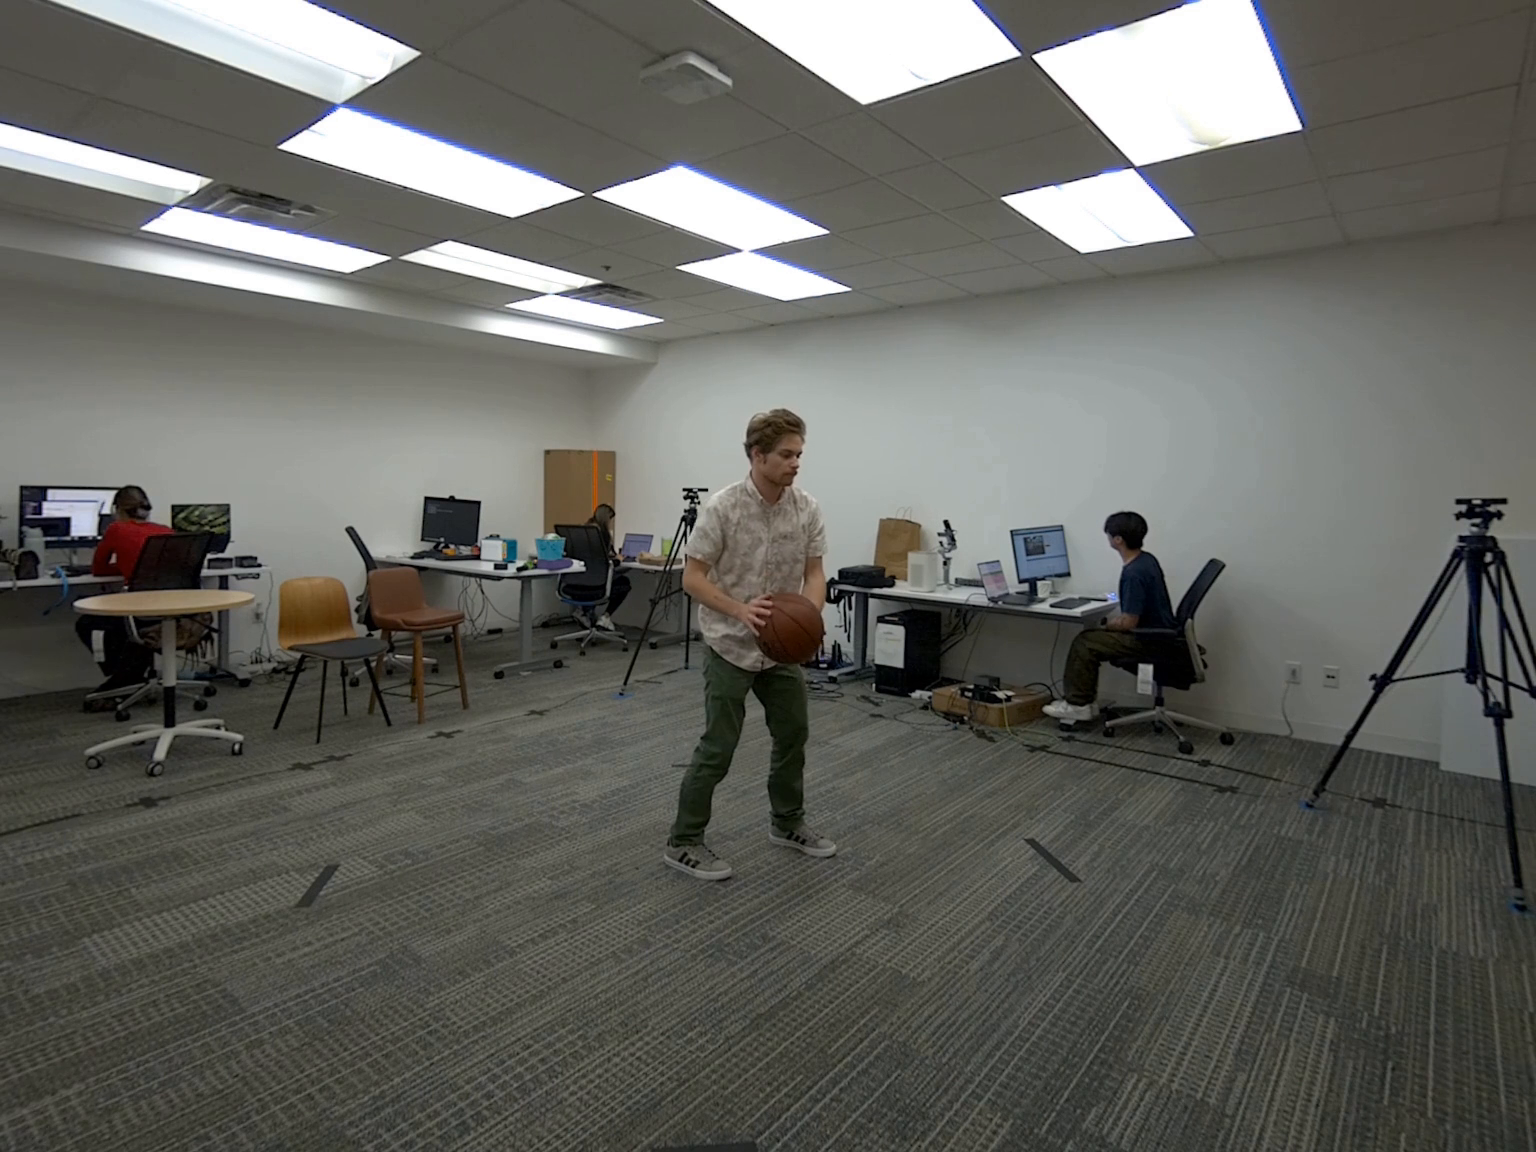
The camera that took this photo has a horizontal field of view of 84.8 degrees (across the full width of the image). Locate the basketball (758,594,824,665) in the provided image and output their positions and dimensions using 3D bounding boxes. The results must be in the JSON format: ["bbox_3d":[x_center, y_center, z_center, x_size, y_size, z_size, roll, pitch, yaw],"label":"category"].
[{"bbox_3d":[0.057,0.172,2.858,0.236,0.235,0.237,1,4,-2],"label":"basketball"}]
